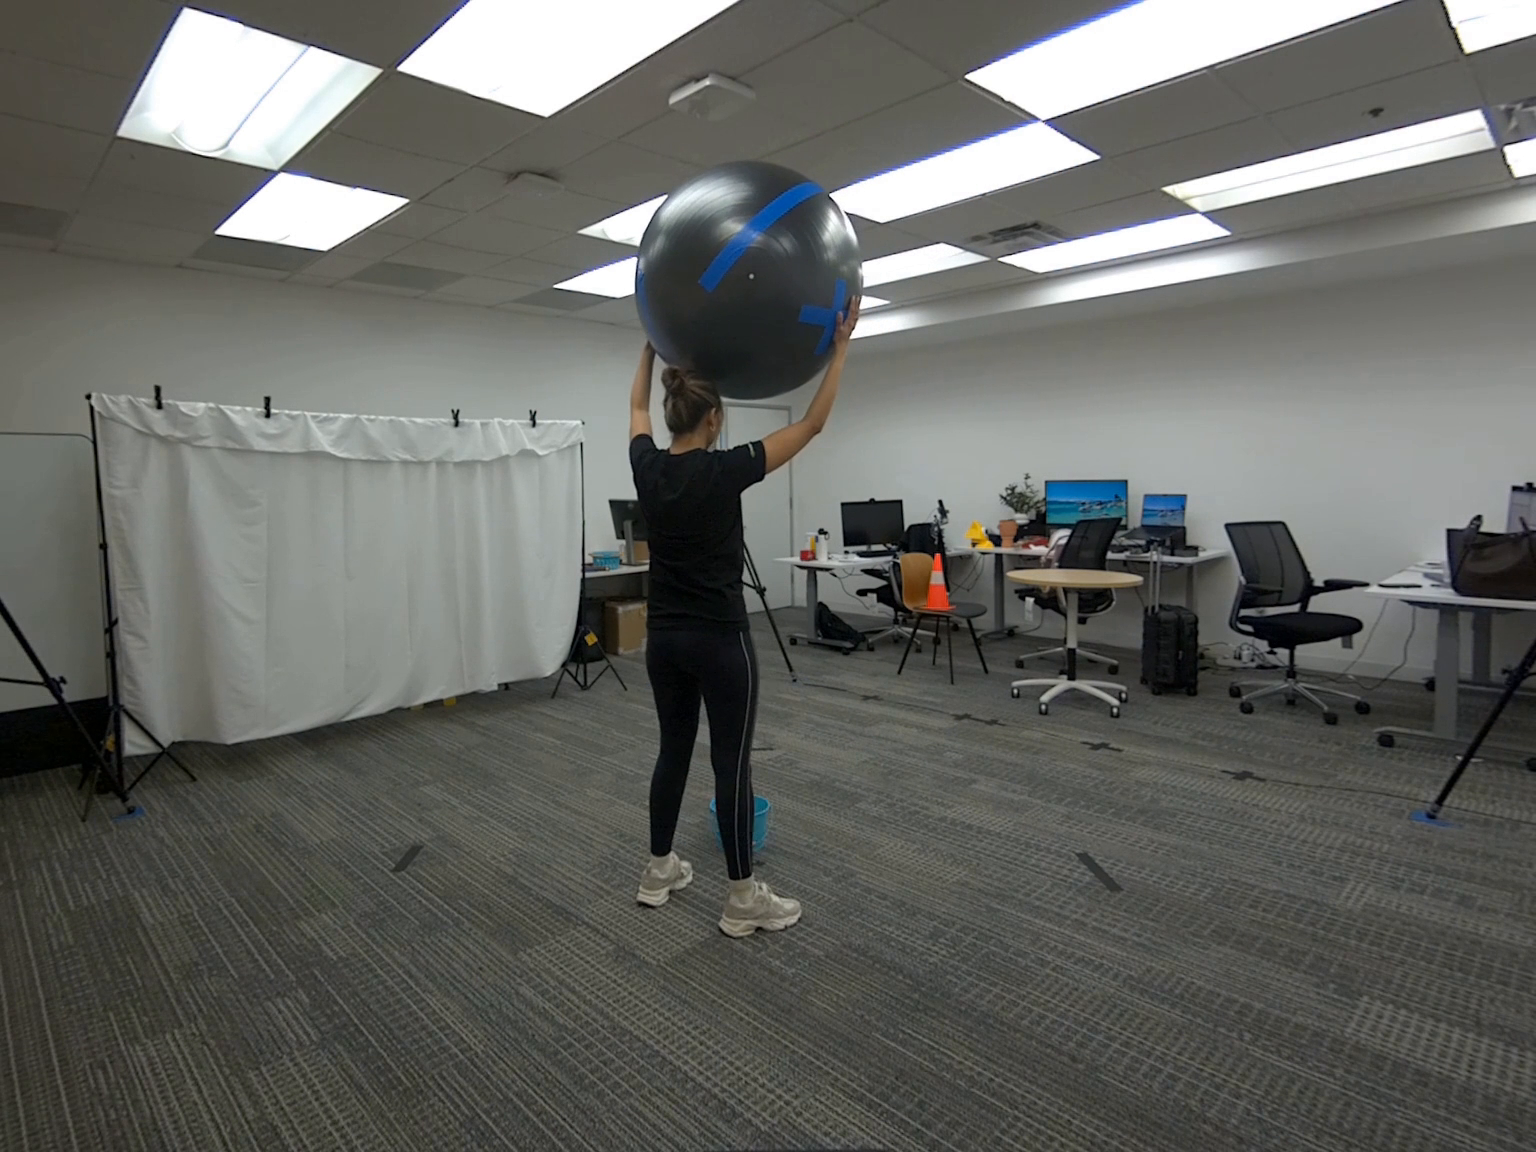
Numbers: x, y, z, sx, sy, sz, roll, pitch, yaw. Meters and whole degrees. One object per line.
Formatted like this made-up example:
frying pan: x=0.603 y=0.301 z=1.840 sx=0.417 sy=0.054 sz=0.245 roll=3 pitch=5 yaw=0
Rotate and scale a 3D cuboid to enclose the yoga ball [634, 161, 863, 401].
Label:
yoga ball: x=-0.062 y=-0.960 z=2.837 sx=0.757 sy=0.755 sz=0.762 roll=-1 pitch=5 yaw=-2
